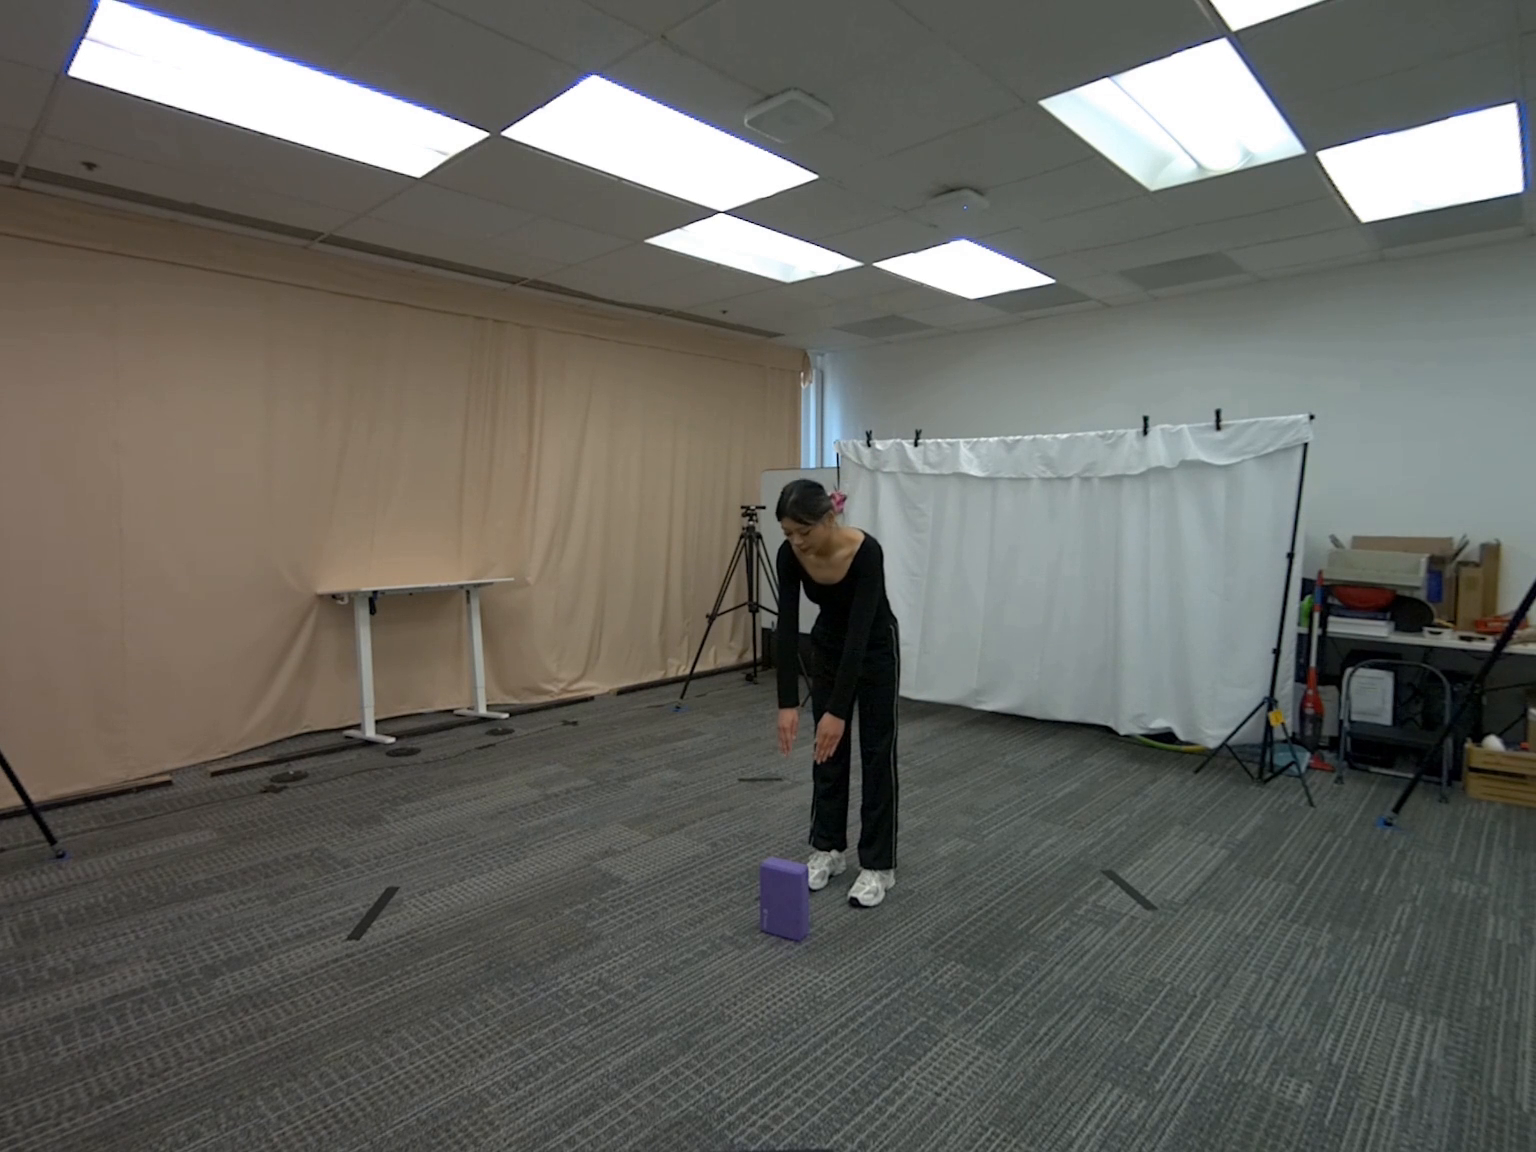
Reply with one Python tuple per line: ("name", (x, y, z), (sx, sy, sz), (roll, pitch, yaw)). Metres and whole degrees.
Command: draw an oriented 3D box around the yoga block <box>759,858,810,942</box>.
("yoga block", (0.058, 1.050, 2.736), (0.153, 0.229, 0.074), (2, 4, 28))
